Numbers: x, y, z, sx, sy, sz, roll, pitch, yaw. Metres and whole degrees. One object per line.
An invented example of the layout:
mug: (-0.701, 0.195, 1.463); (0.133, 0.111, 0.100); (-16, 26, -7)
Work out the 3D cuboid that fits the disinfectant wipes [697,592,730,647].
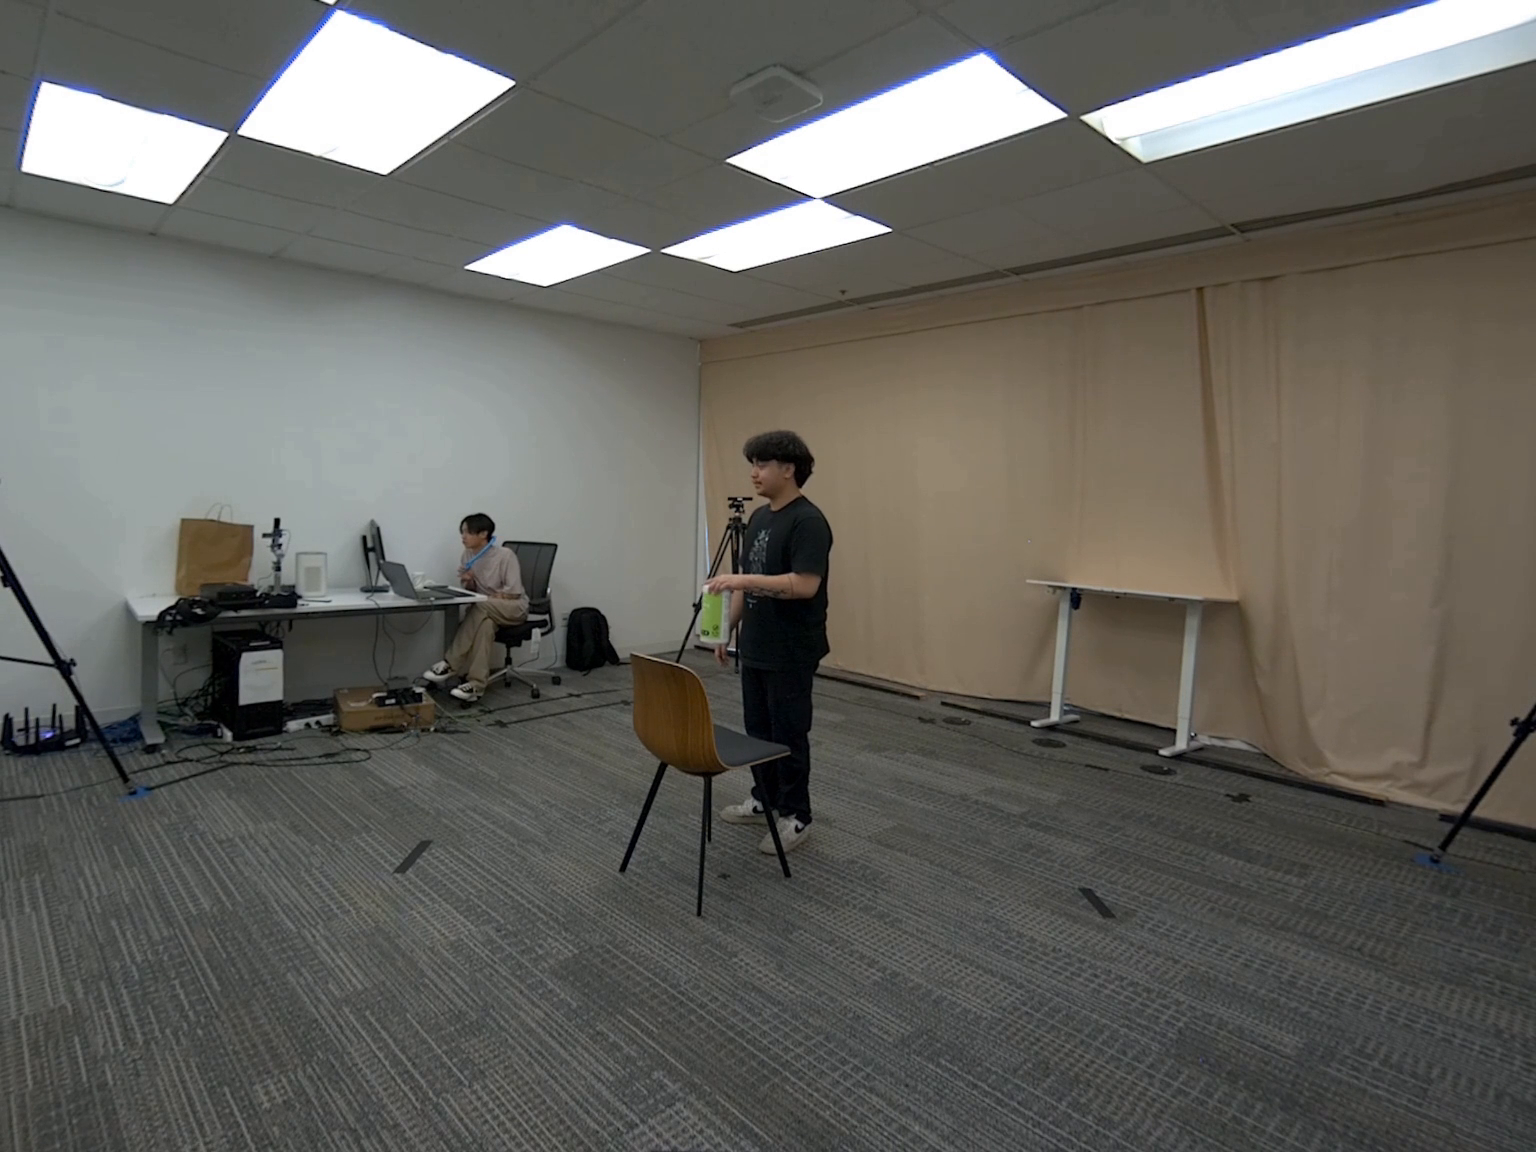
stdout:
disinfectant wipes: (-0.202, 0.145, 3.164); (0.118, 0.217, 0.118); (4, 1, -1)
